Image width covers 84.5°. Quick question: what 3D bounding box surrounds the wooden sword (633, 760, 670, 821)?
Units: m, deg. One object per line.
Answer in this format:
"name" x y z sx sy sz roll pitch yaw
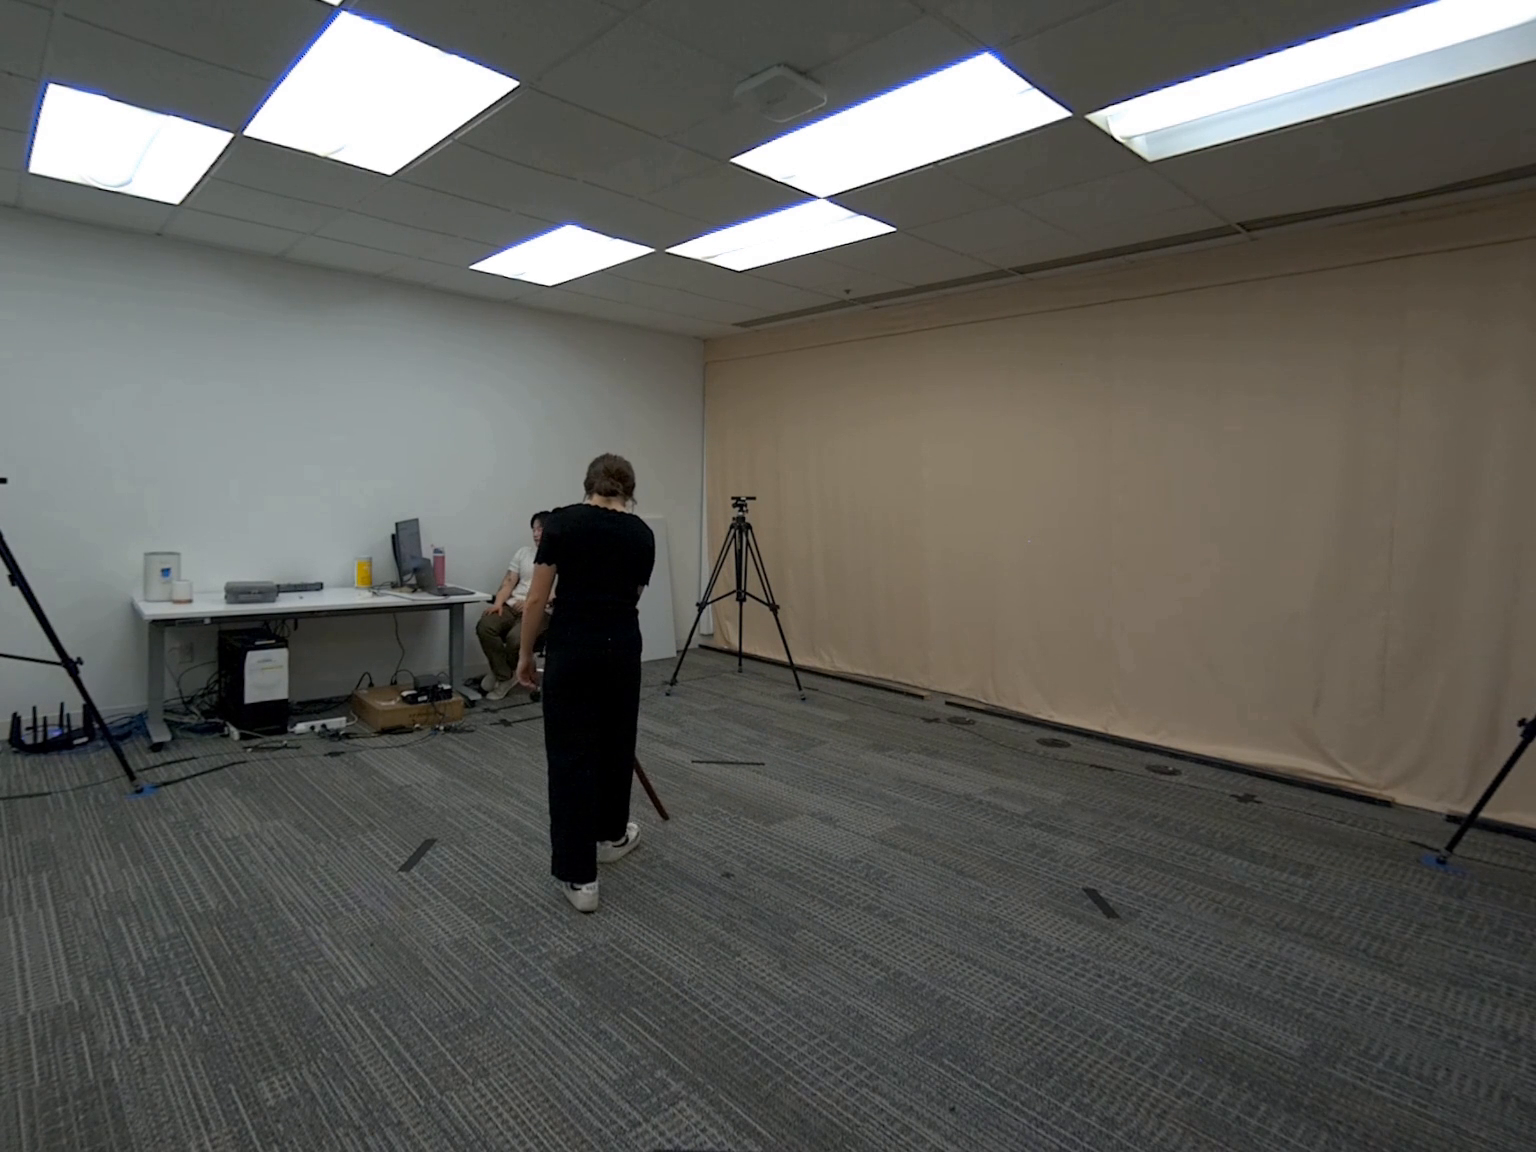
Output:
"wooden sword" -0.615 0.632 3.448 0.024 1.004 0.052 -27 23 -13
